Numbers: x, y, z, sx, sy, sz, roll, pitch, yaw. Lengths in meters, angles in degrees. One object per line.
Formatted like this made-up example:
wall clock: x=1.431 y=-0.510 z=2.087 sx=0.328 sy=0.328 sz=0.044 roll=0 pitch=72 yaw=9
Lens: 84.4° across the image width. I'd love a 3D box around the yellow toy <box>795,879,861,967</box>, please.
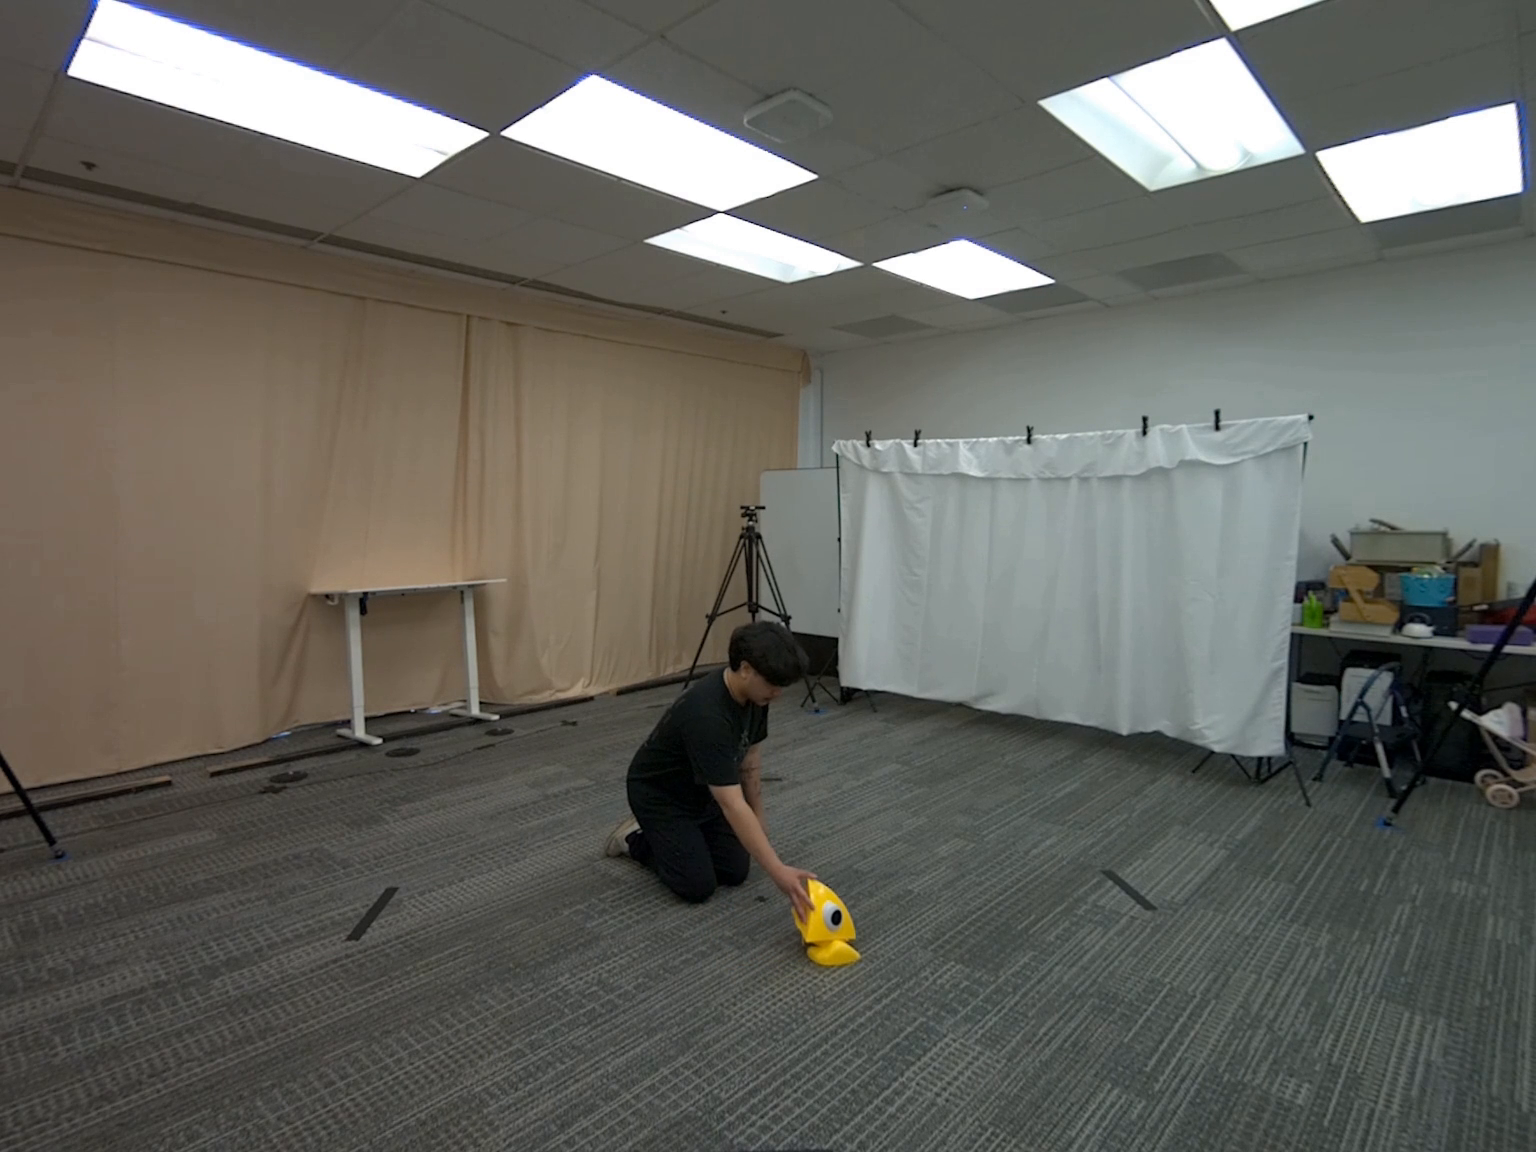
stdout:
yellow toy: x=0.190 y=1.060 z=2.643 sx=0.191 sy=0.230 sz=0.207 roll=-1 pitch=4 yaw=-10
